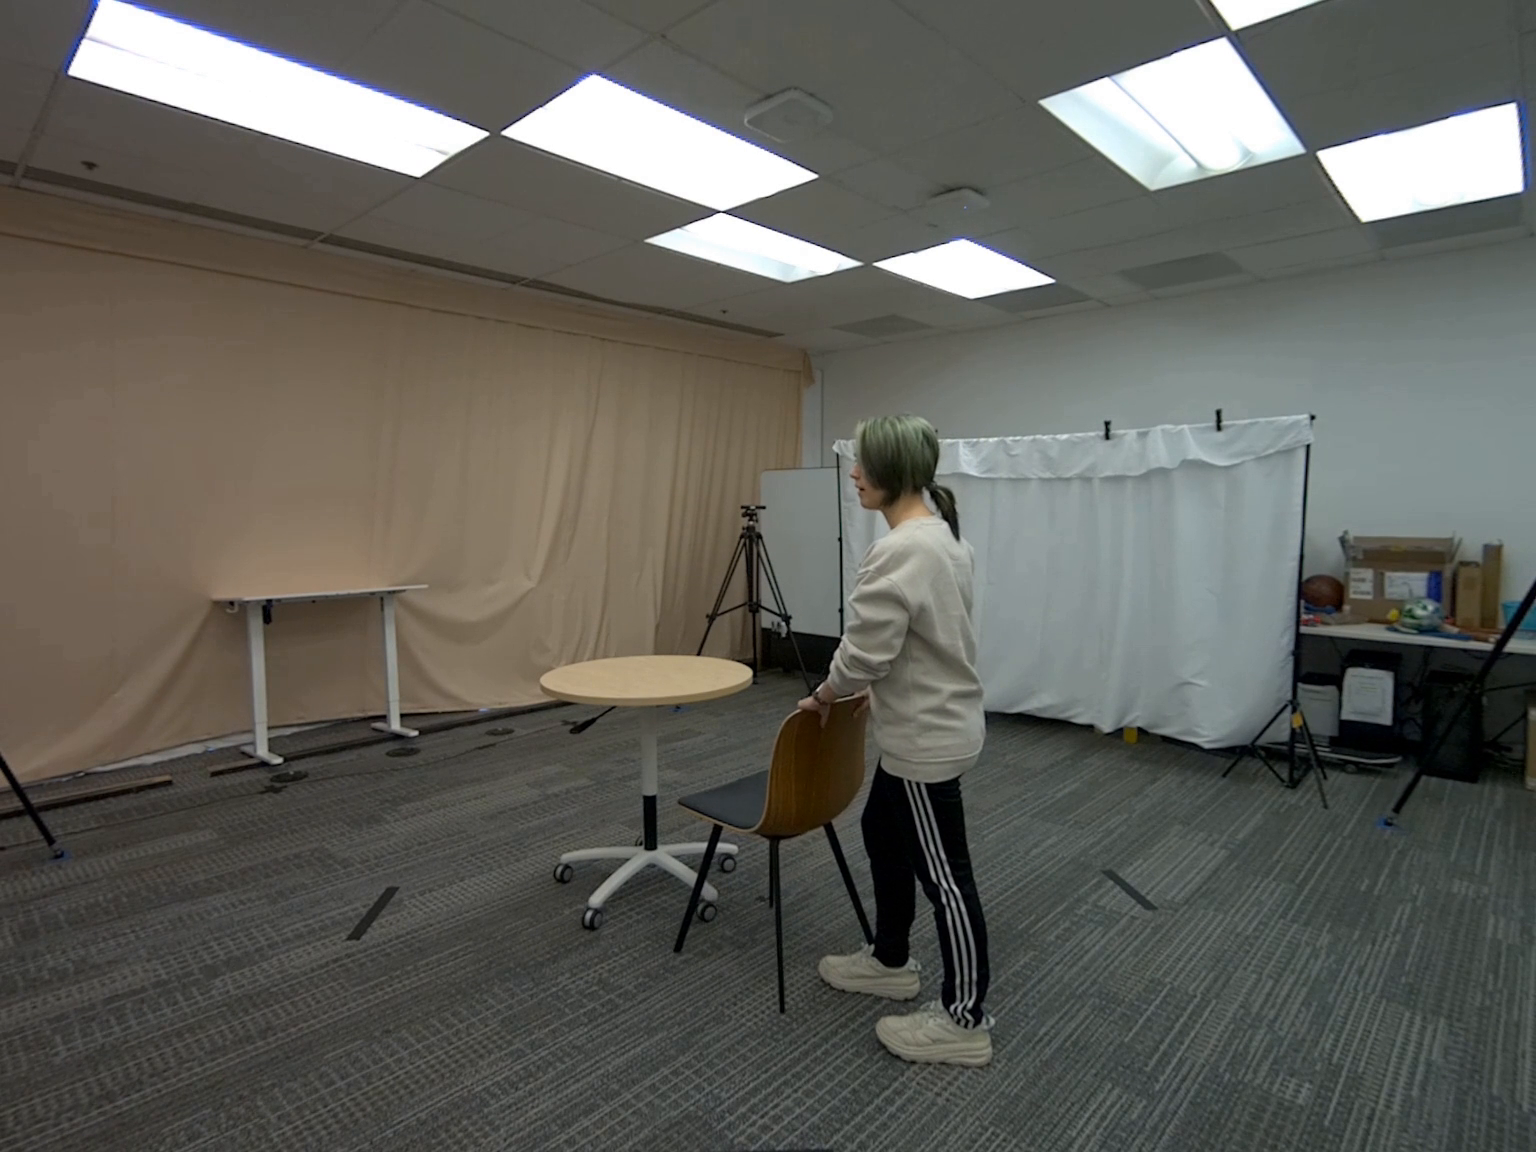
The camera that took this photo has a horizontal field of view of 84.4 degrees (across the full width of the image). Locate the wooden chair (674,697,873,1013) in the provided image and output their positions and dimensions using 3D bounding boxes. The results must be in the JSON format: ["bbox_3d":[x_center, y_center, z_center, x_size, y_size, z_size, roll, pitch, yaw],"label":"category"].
[{"bbox_3d":[0.017,0.748,2.598,0.541,0.874,0.463,9,9,44],"label":"wooden chair"}]
